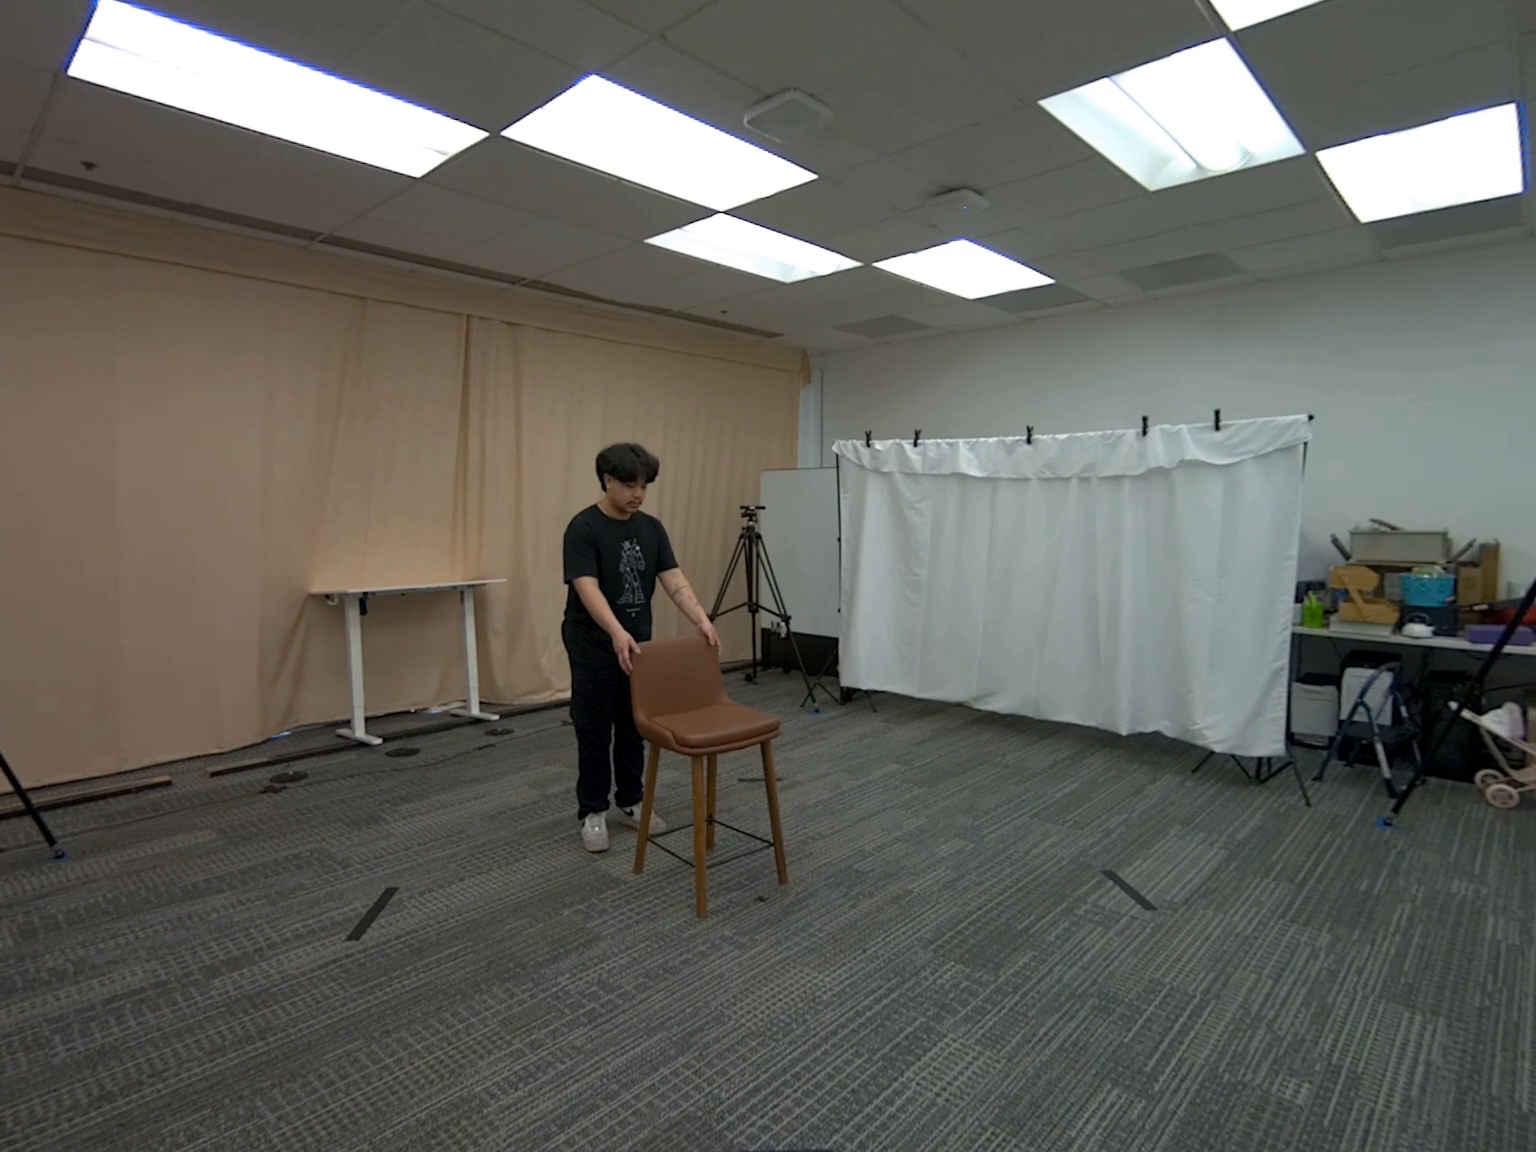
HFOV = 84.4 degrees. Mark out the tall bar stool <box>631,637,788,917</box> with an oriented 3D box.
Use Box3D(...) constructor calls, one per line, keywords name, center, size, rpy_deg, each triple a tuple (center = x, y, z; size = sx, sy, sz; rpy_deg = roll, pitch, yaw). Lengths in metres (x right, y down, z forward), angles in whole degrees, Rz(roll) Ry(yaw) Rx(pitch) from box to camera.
Box3D(name="tall bar stool", center=(-0.233, 0.696, 3.134), size=(0.443, 0.888, 0.482), rpy_deg=(-3, 3, -40))
